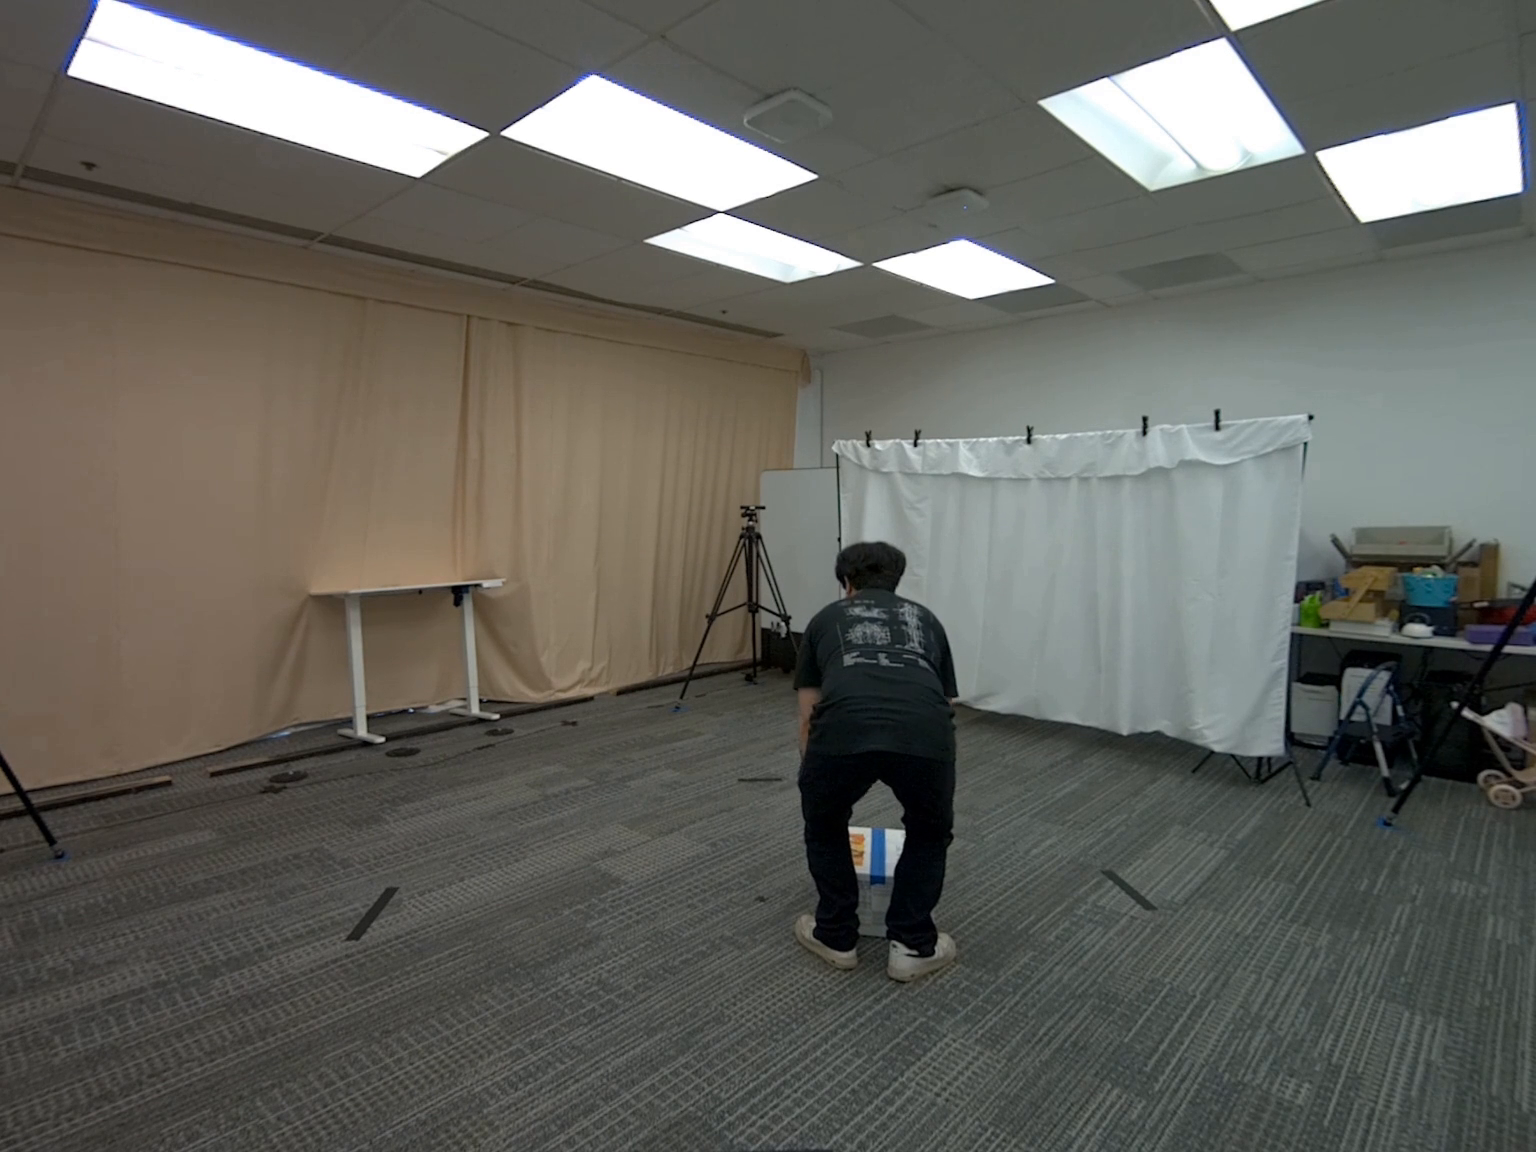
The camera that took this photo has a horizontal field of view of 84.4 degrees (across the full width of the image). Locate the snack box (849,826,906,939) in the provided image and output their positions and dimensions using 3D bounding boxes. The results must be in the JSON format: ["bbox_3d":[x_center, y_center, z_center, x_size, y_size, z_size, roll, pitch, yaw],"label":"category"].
[{"bbox_3d":[0.390,1.046,2.897,0.344,0.205,0.402,0,4,9],"label":"snack box"}]
